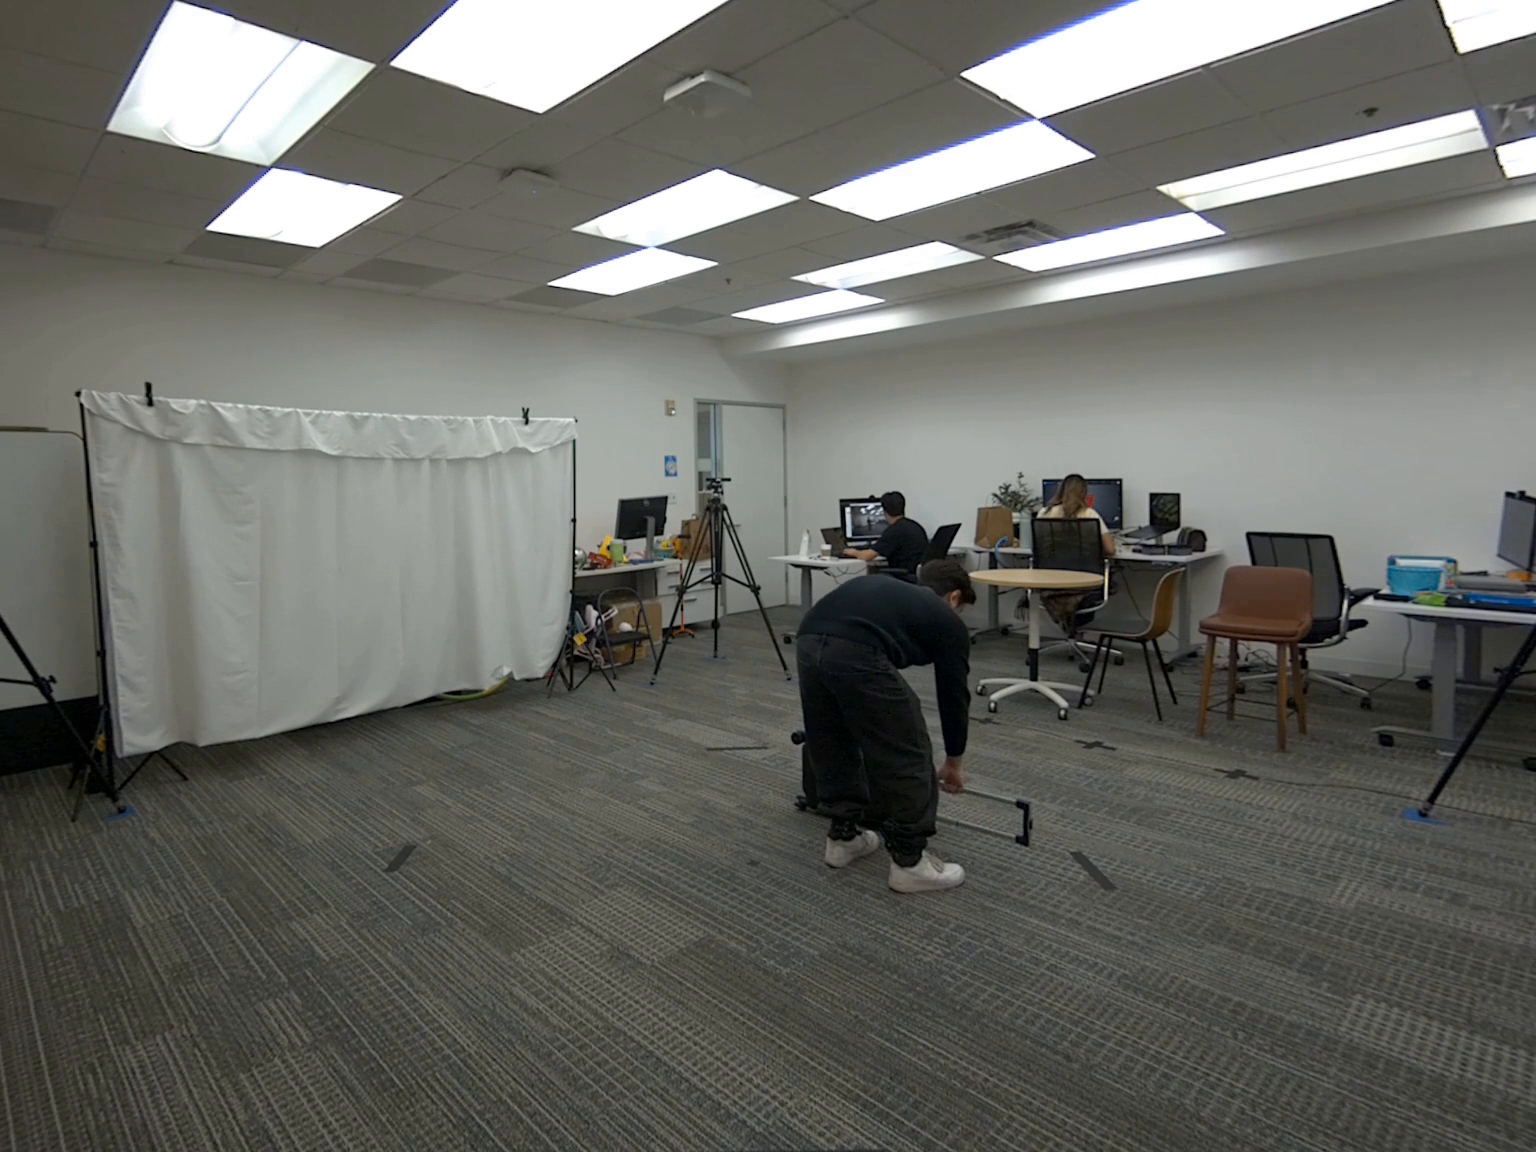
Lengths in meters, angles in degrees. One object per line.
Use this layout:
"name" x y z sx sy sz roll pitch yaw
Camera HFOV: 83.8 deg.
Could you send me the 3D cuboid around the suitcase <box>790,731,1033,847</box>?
"suitcase" 0.570 0.818 3.381 1.007 0.382 0.251 4 6 37
